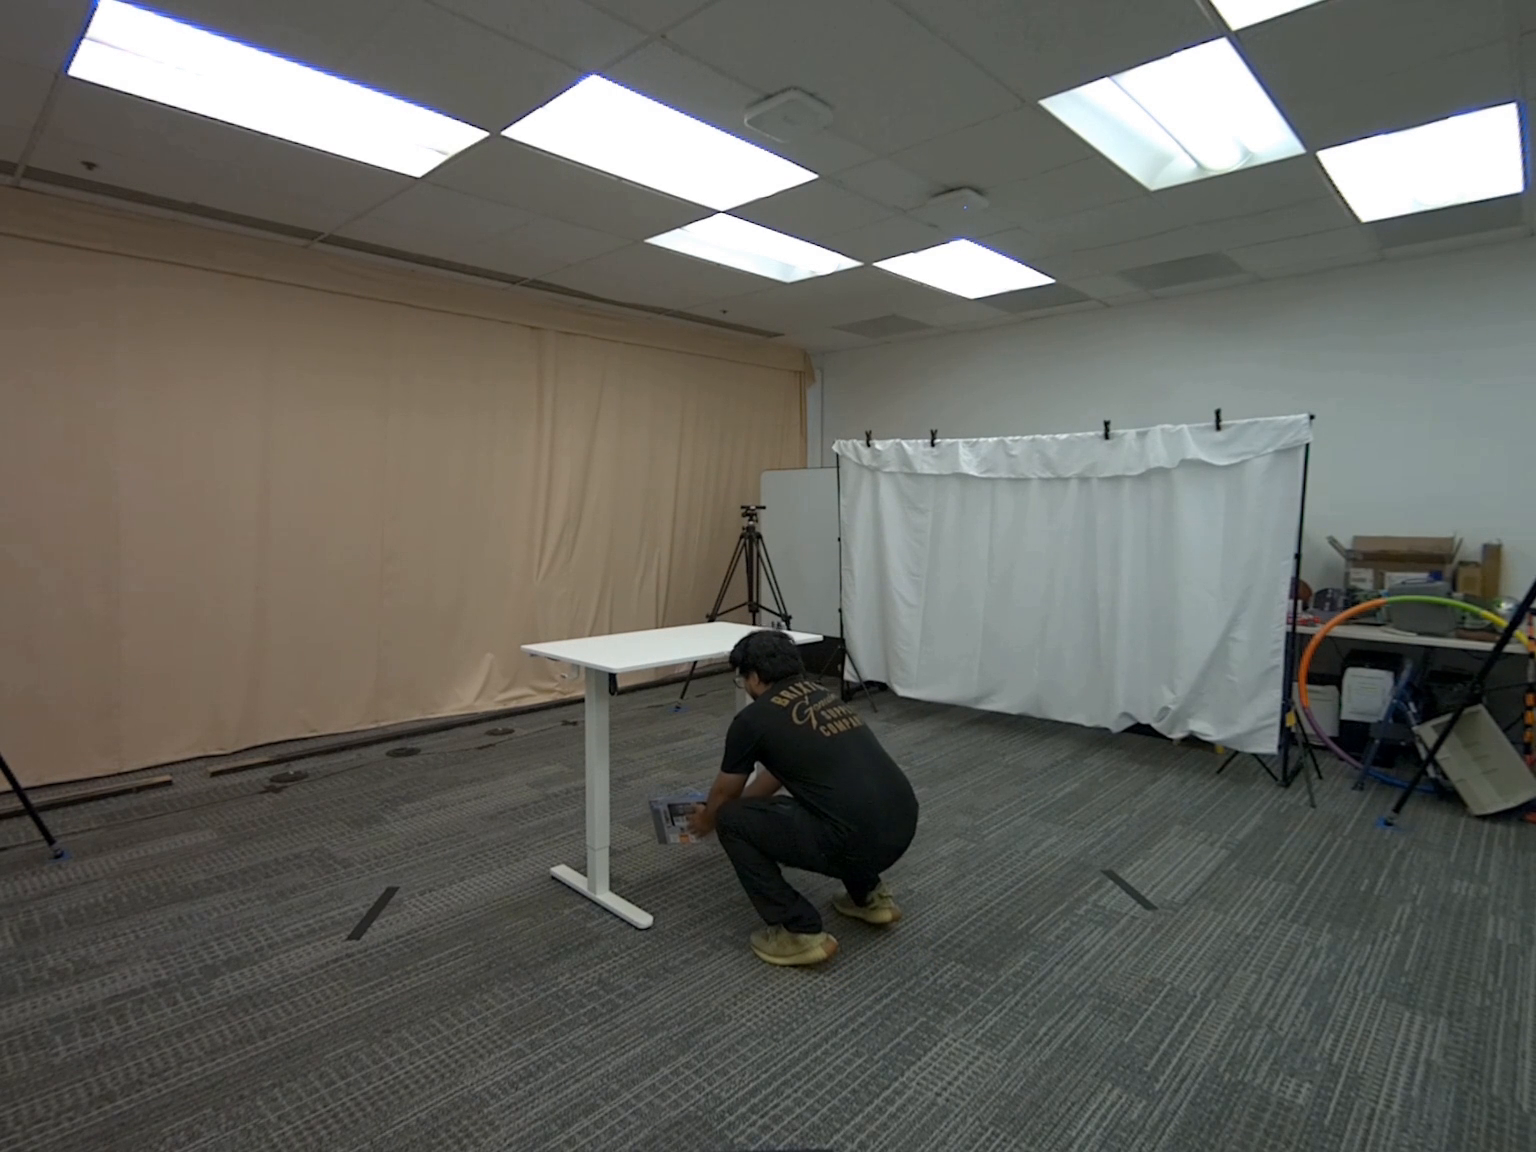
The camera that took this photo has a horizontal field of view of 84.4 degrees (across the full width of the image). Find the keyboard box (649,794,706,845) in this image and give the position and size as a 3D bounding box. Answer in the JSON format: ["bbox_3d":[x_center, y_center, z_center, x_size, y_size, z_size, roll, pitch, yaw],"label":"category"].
[{"bbox_3d":[-0.274,0.915,3.159,0.447,0.177,0.057,-18,-5,40],"label":"keyboard box"}]
